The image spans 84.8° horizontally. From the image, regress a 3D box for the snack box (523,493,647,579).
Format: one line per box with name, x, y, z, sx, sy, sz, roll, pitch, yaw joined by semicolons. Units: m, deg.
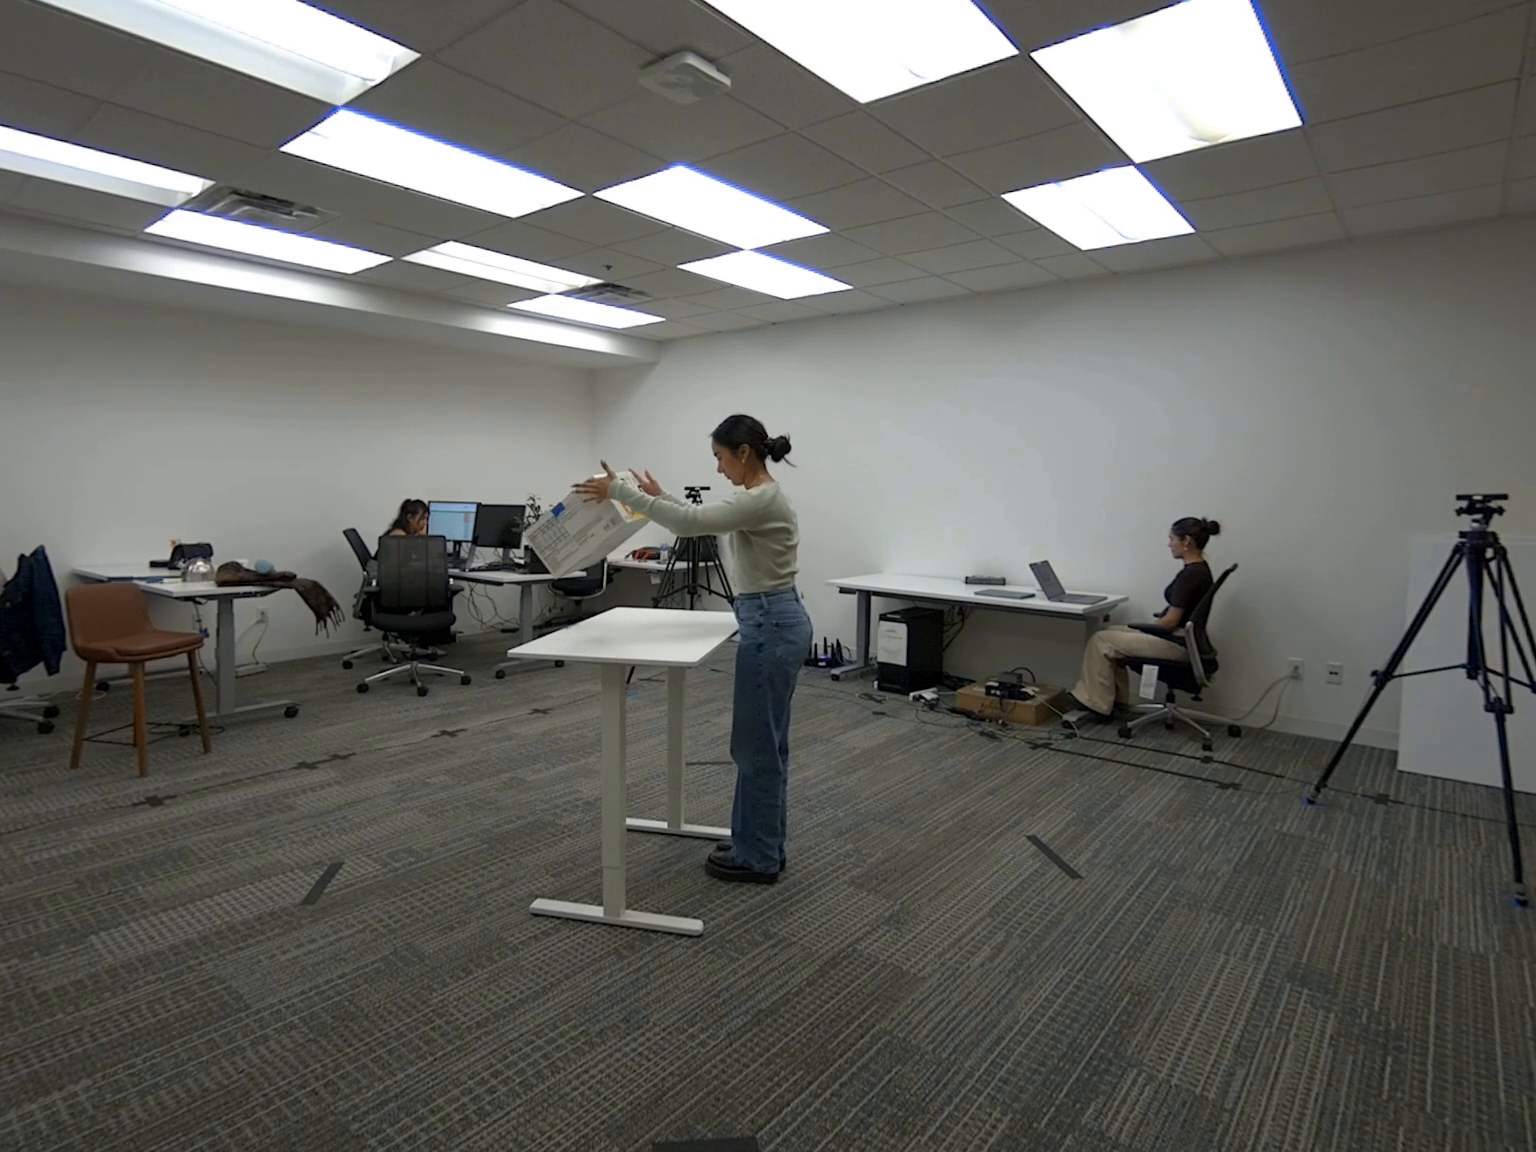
snack box;-0.635;-0.198;3.121;0.341;0.206;0.404;-38;2;13
